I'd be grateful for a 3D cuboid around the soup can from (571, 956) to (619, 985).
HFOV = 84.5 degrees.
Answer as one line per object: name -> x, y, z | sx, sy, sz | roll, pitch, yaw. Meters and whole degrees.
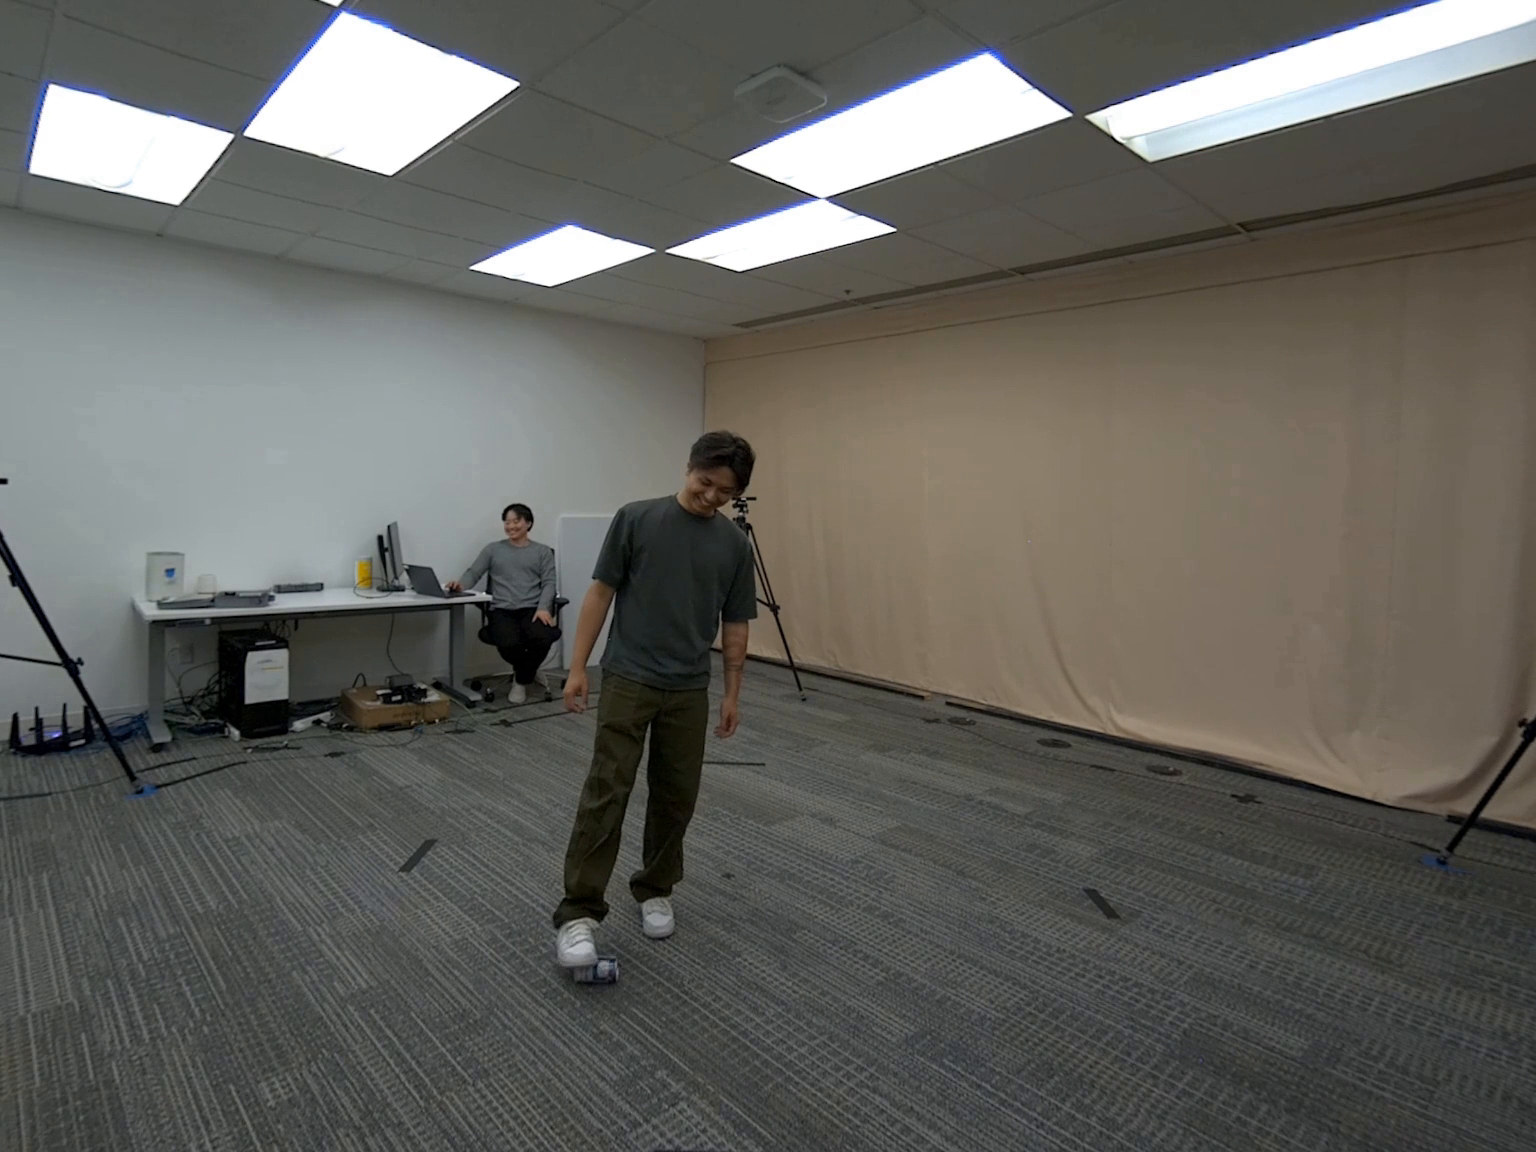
soup can -> -0.505, 1.131, 2.405 | 0.121, 0.067, 0.067 | 4, 4, -3
